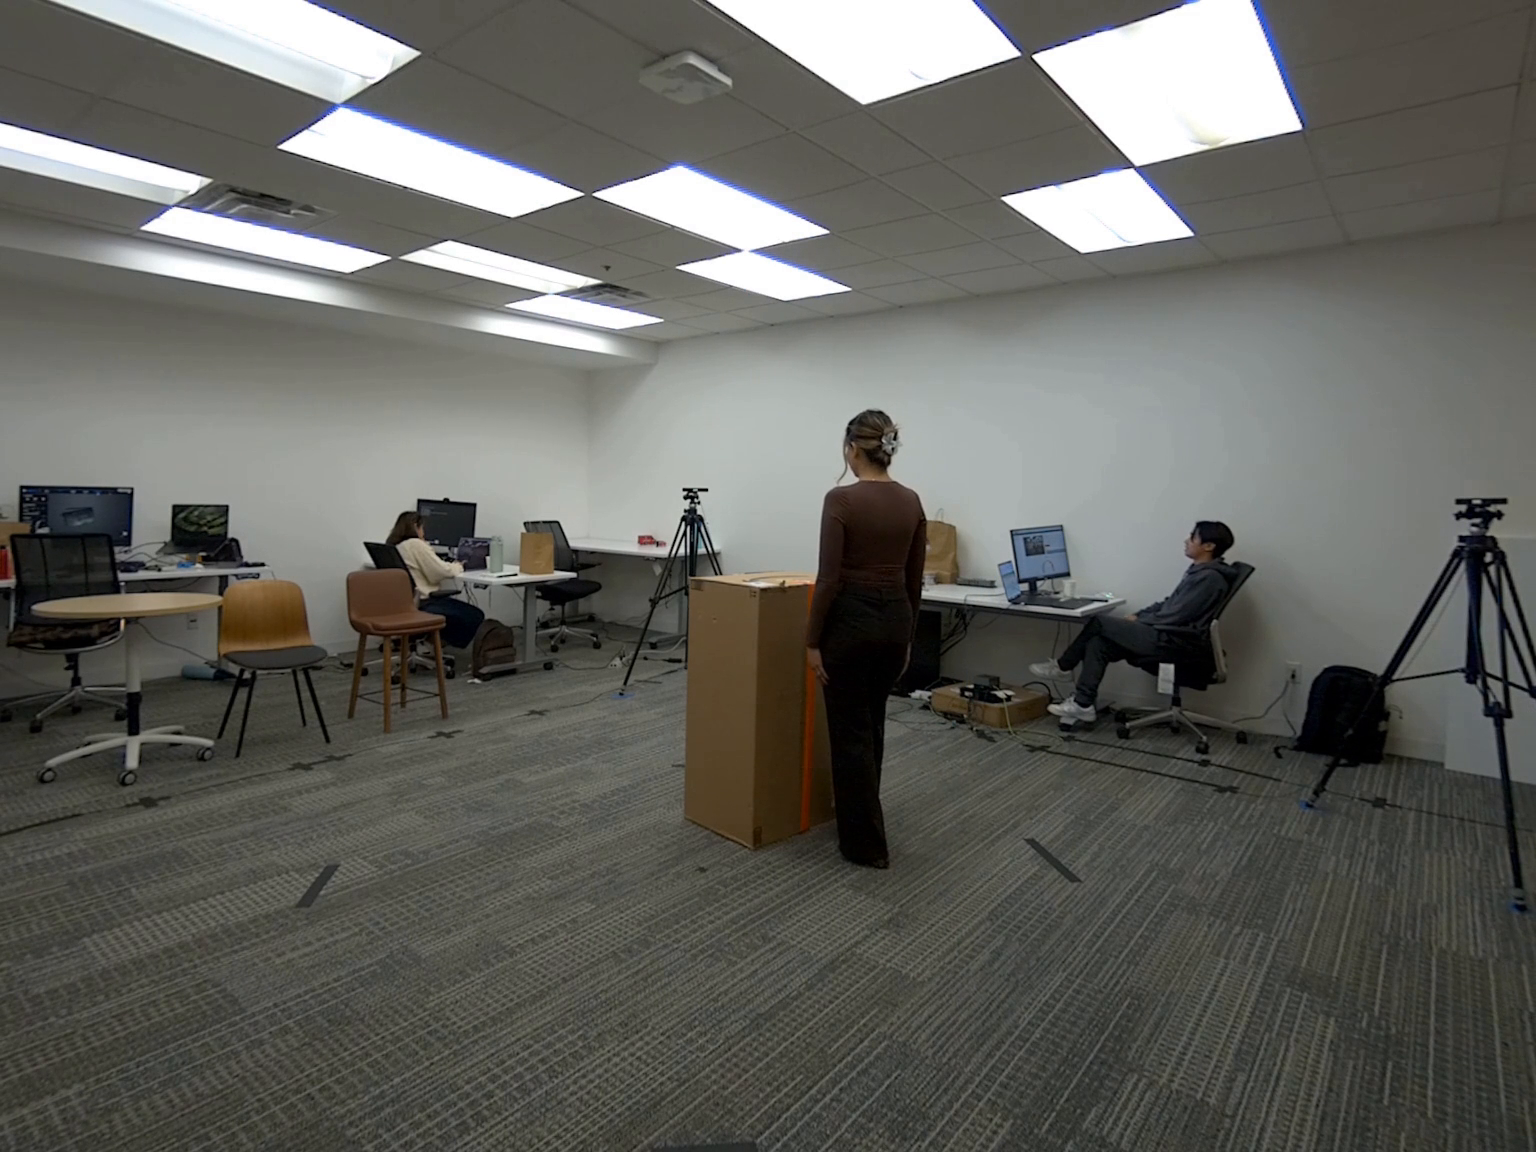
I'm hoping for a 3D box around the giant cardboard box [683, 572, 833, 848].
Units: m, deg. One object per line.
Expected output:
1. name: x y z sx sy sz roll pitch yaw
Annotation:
1. giant cardboard box: -0.007 0.514 3.604 0.566 1.024 0.462 -2 5 -43
